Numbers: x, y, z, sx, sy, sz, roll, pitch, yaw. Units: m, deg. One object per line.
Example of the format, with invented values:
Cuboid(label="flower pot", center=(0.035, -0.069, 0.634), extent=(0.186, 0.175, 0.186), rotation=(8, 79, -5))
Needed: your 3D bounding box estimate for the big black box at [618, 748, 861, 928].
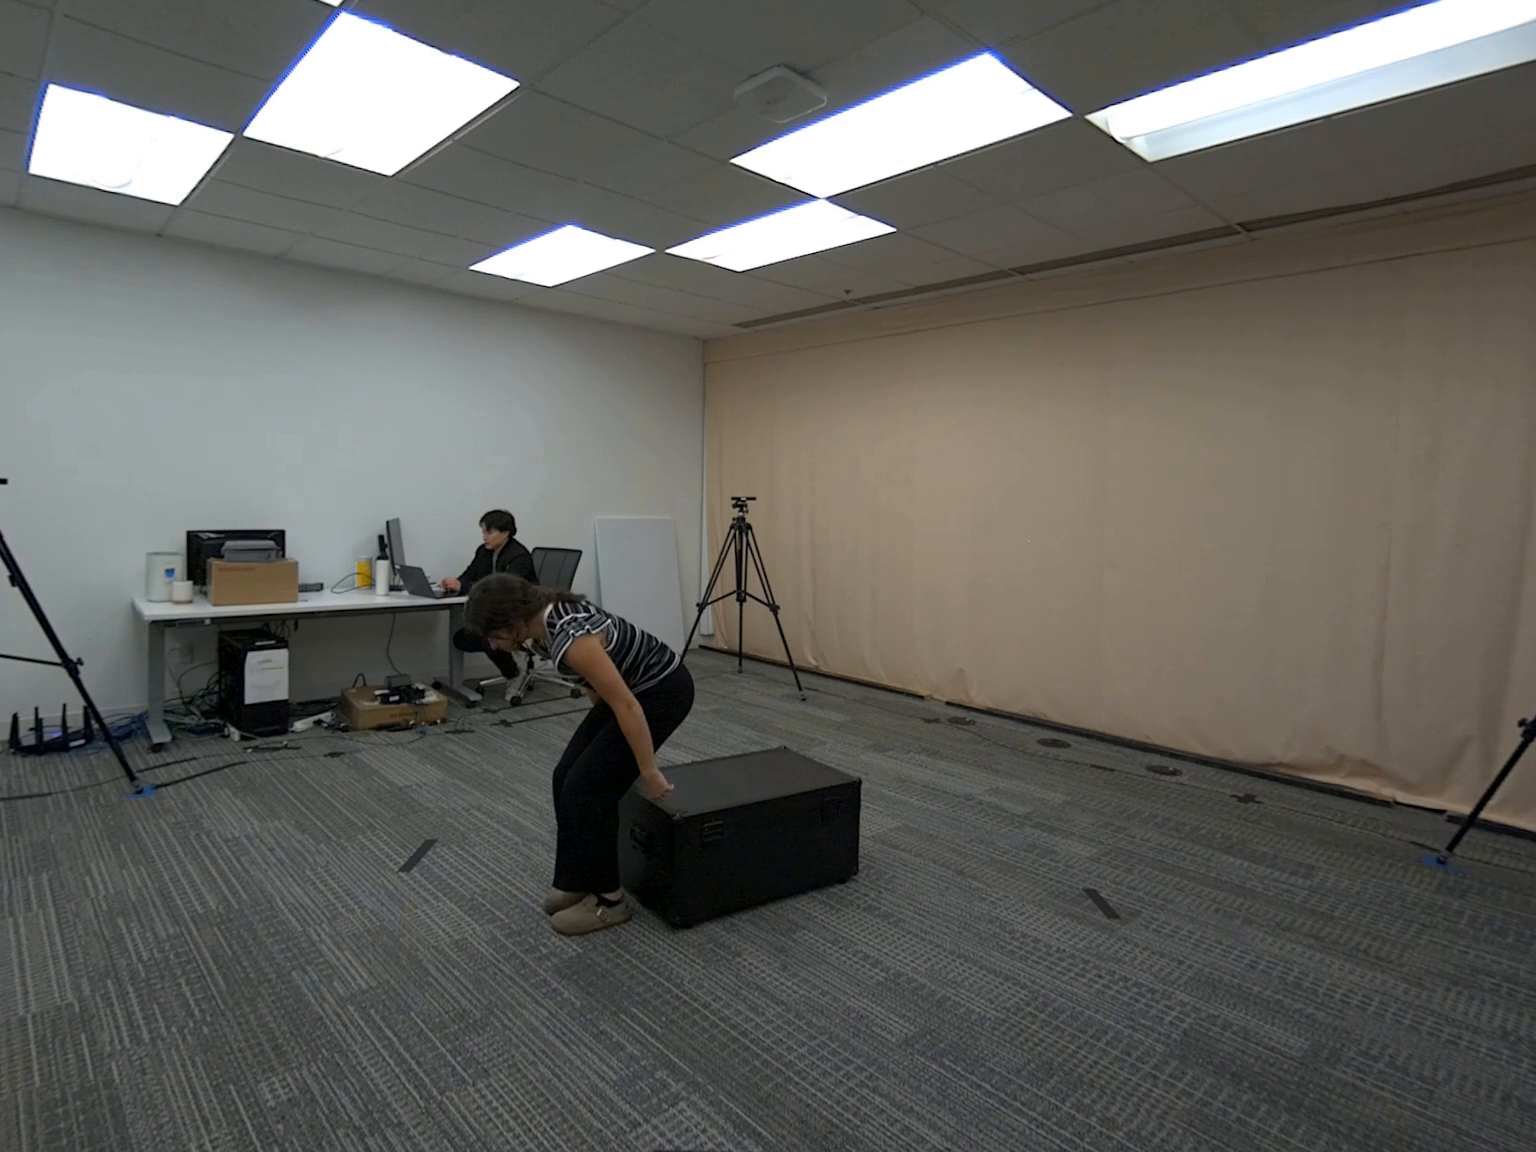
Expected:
Cuboid(label="big black box", center=(-0.093, 0.918, 3.087), extent=(0.843, 0.395, 0.534), rotation=(-3, 6, -34))
